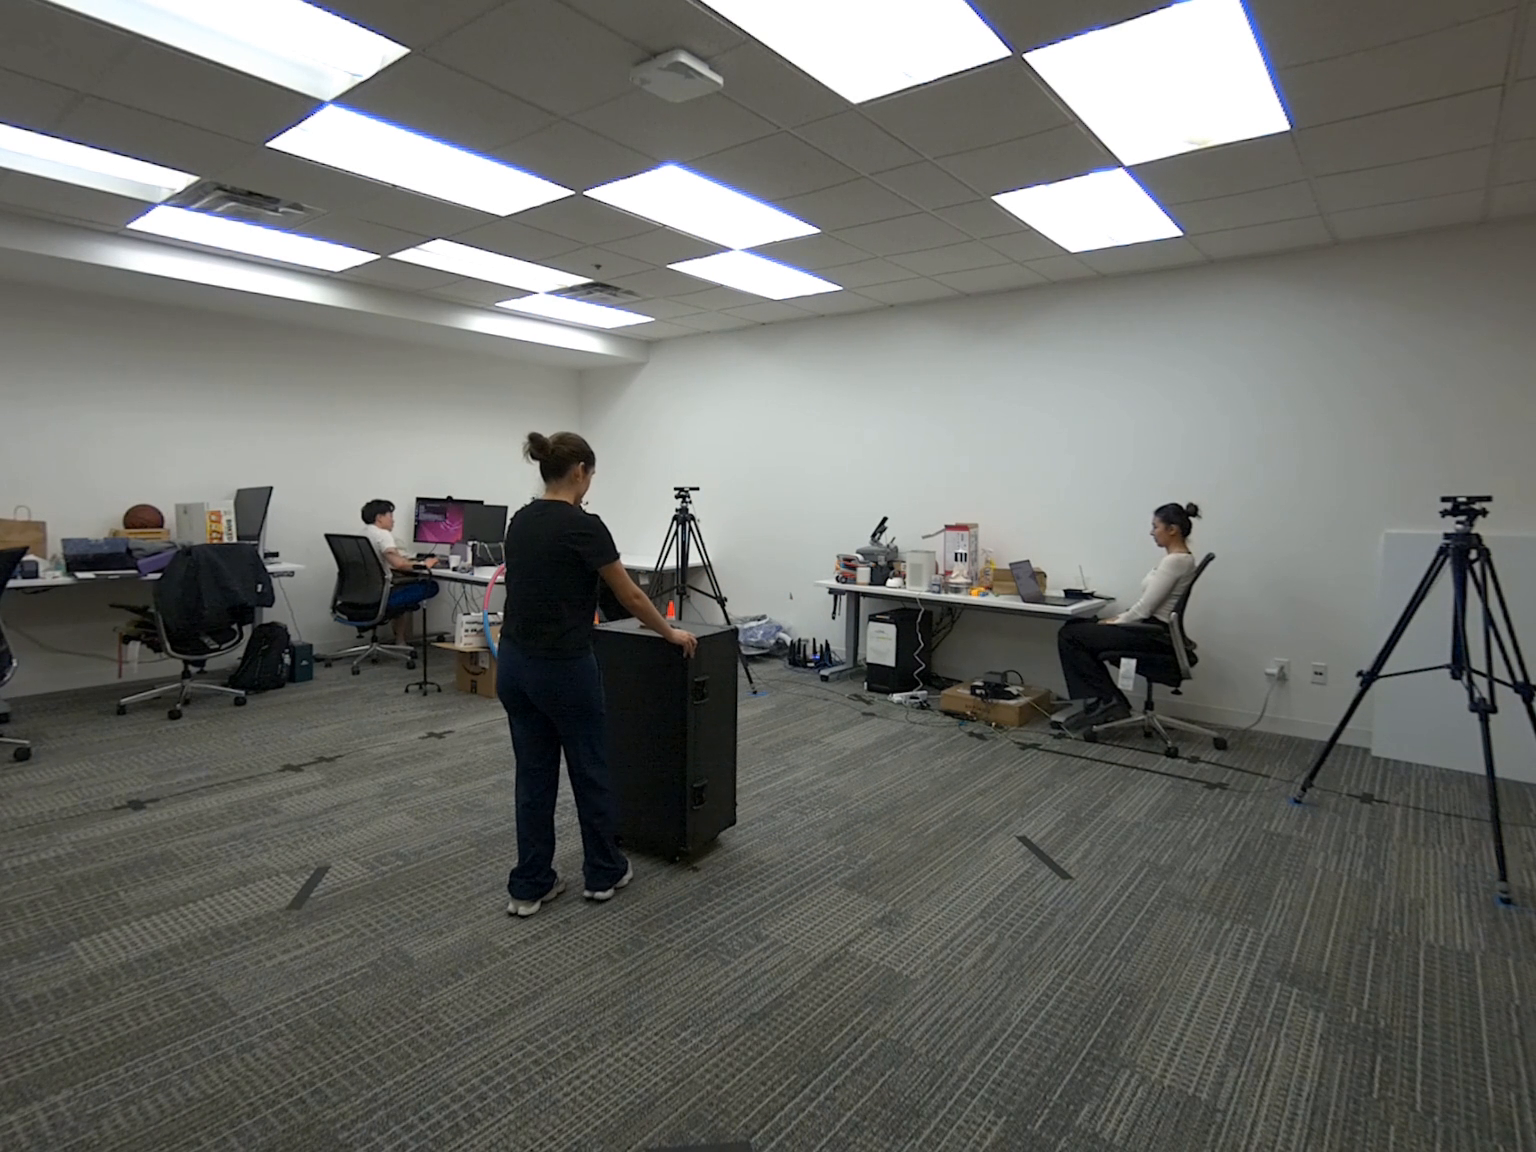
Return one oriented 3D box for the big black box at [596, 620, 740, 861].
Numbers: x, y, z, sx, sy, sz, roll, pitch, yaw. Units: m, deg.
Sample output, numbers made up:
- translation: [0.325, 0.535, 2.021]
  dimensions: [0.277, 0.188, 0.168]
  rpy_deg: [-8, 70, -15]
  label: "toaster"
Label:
- translation: [-0.394, 0.616, 3.333]
  dimensions: [0.537, 0.860, 0.385]
  rpy_deg: [2, 3, 32]
  label: "big black box"
